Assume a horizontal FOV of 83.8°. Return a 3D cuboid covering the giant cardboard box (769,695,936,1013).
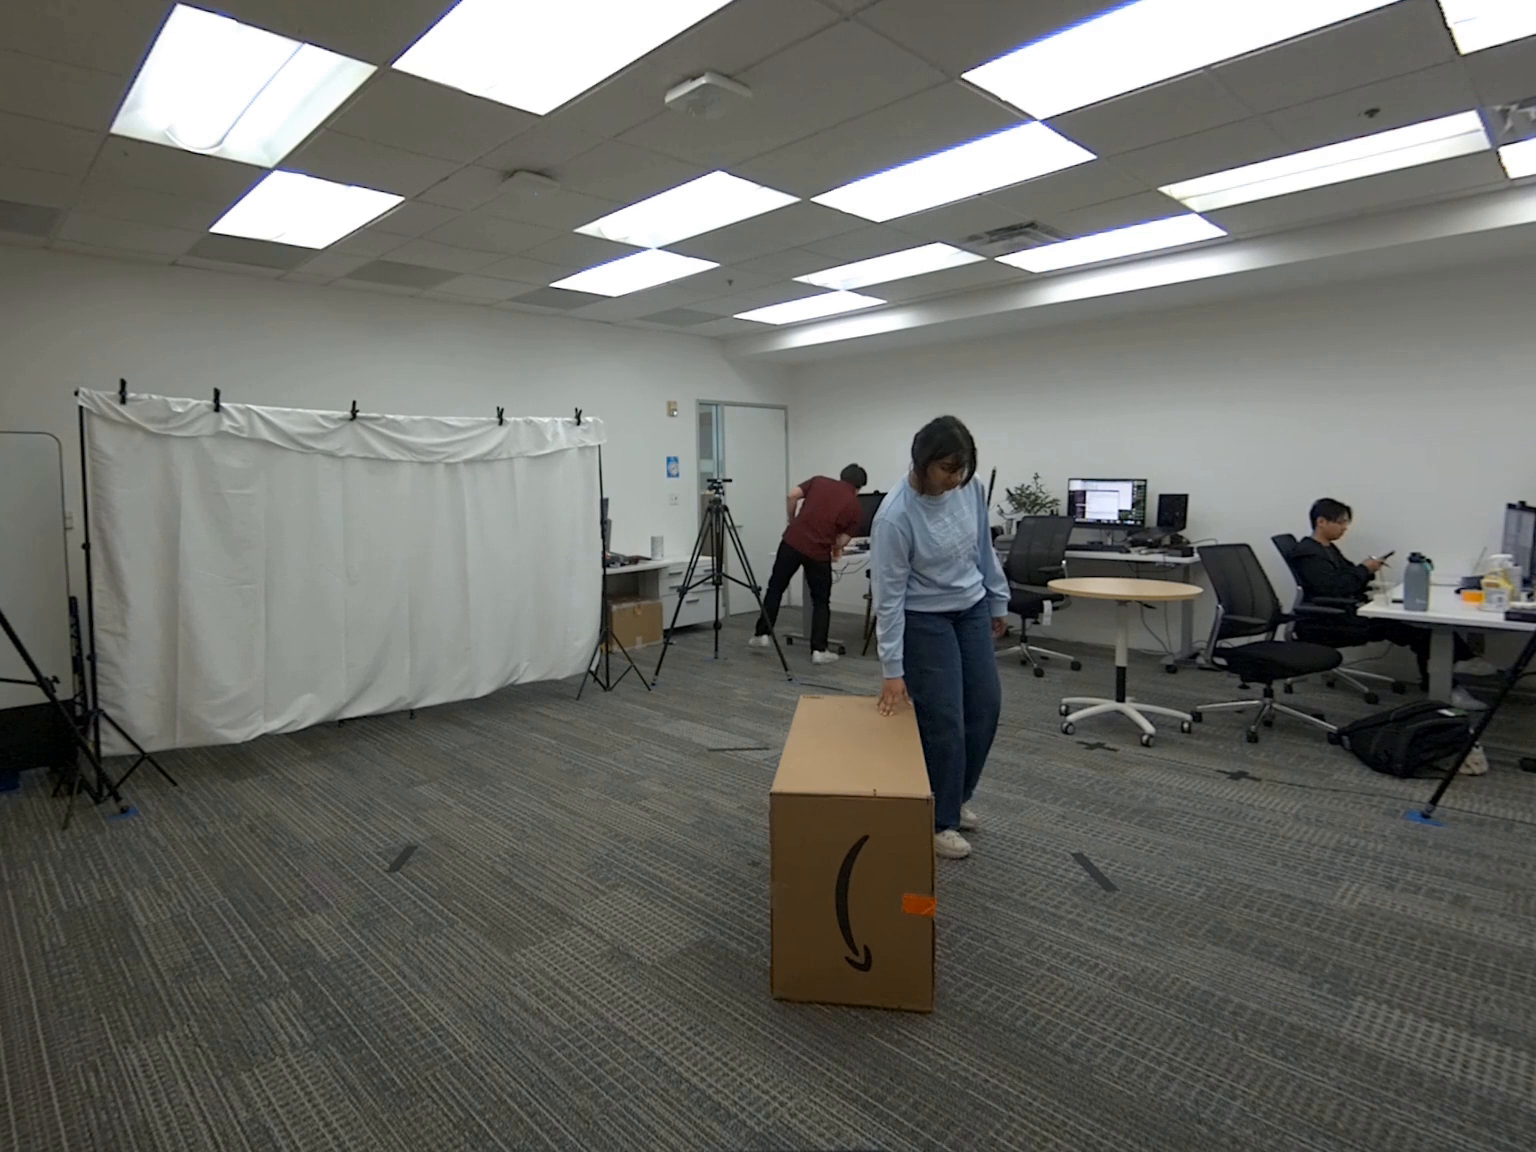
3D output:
[{"bbox_3d":[0.275,0.792,2.731,0.430,0.575,1.022,0,5,7],"label":"giant cardboard box"}]
